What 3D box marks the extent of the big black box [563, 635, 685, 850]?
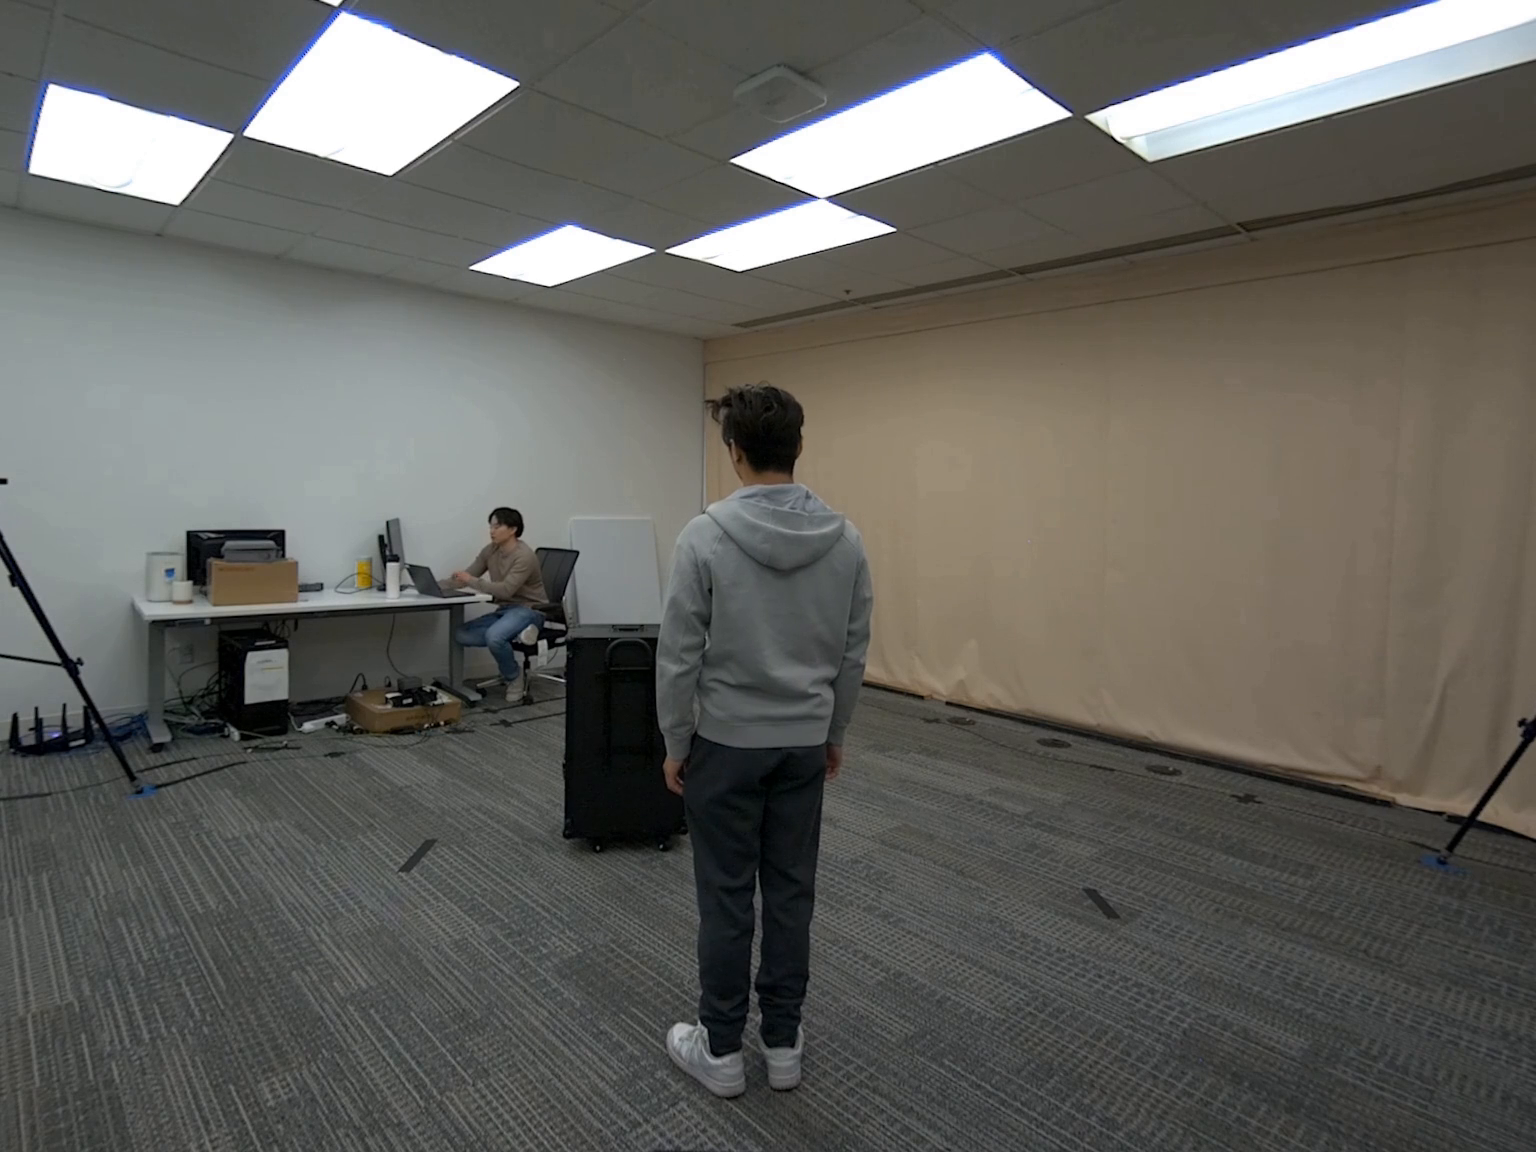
[{"bbox_3d":[-0.585,0.584,3.410,0.517,0.860,0.400,1,3,-11],"label":"big black box"}]
